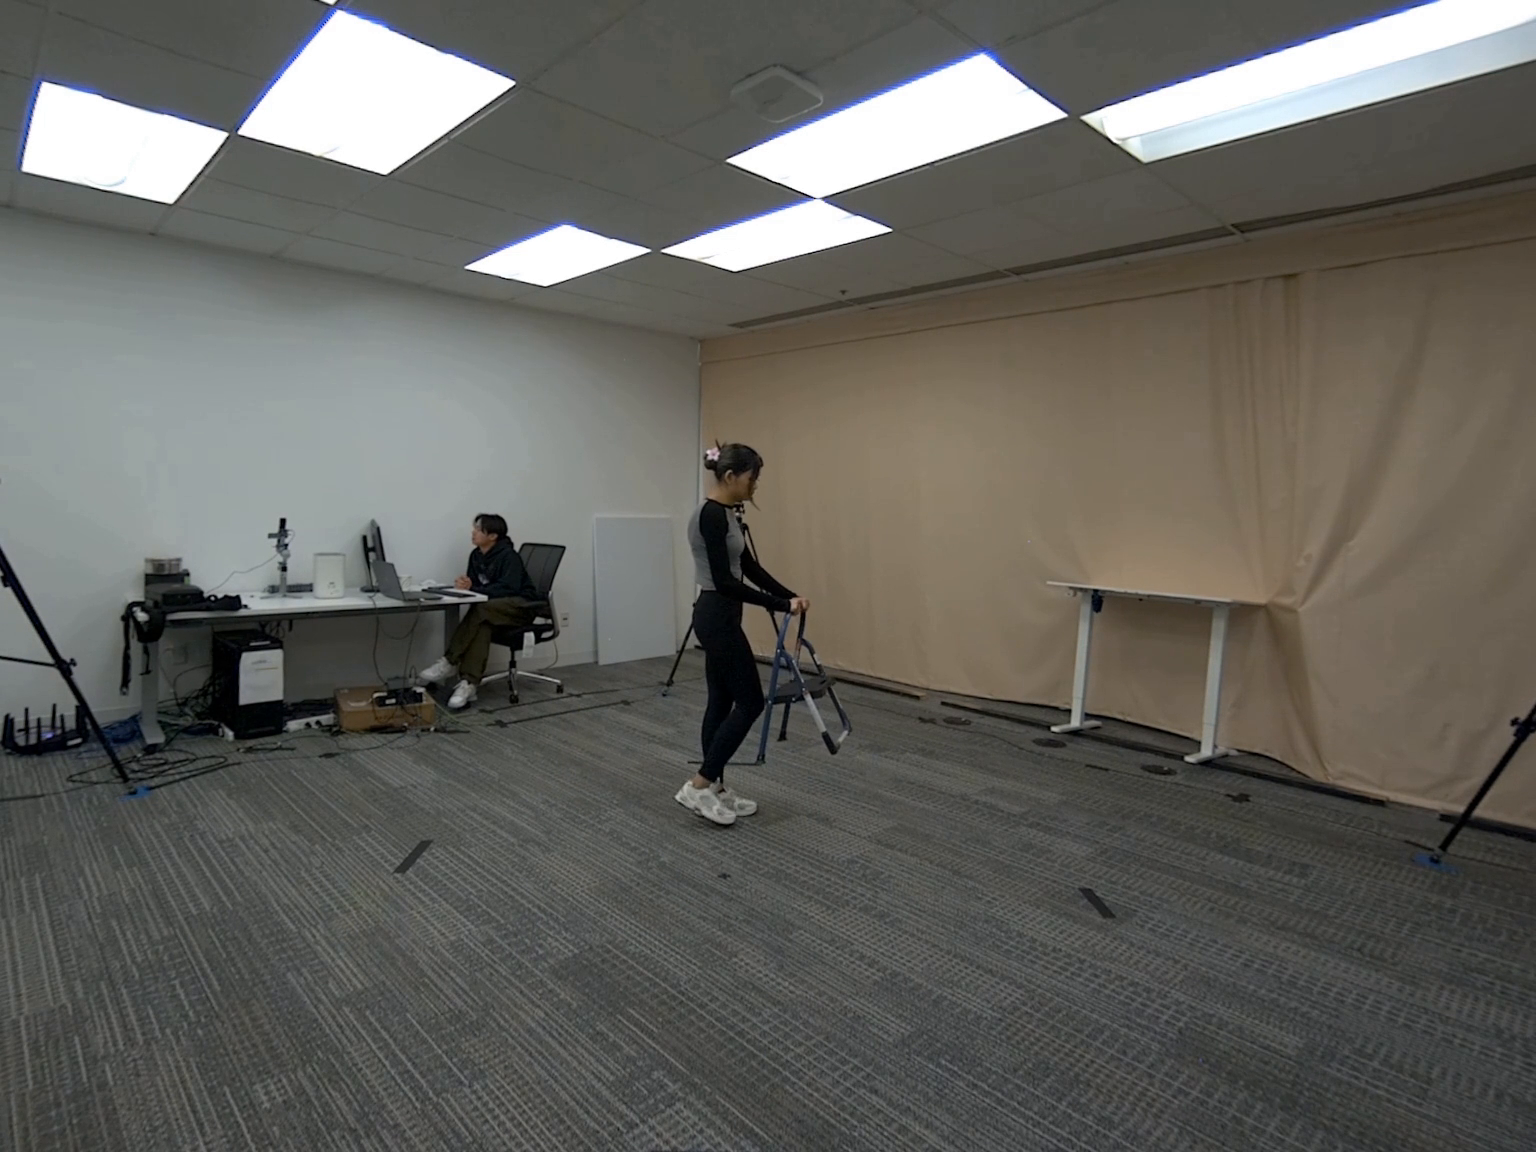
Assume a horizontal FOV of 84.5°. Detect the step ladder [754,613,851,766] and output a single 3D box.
[{"bbox_3d":[0.092,0.435,3.616,0.352,0.606,0.426,-11,0,14],"label":"step ladder"}]
